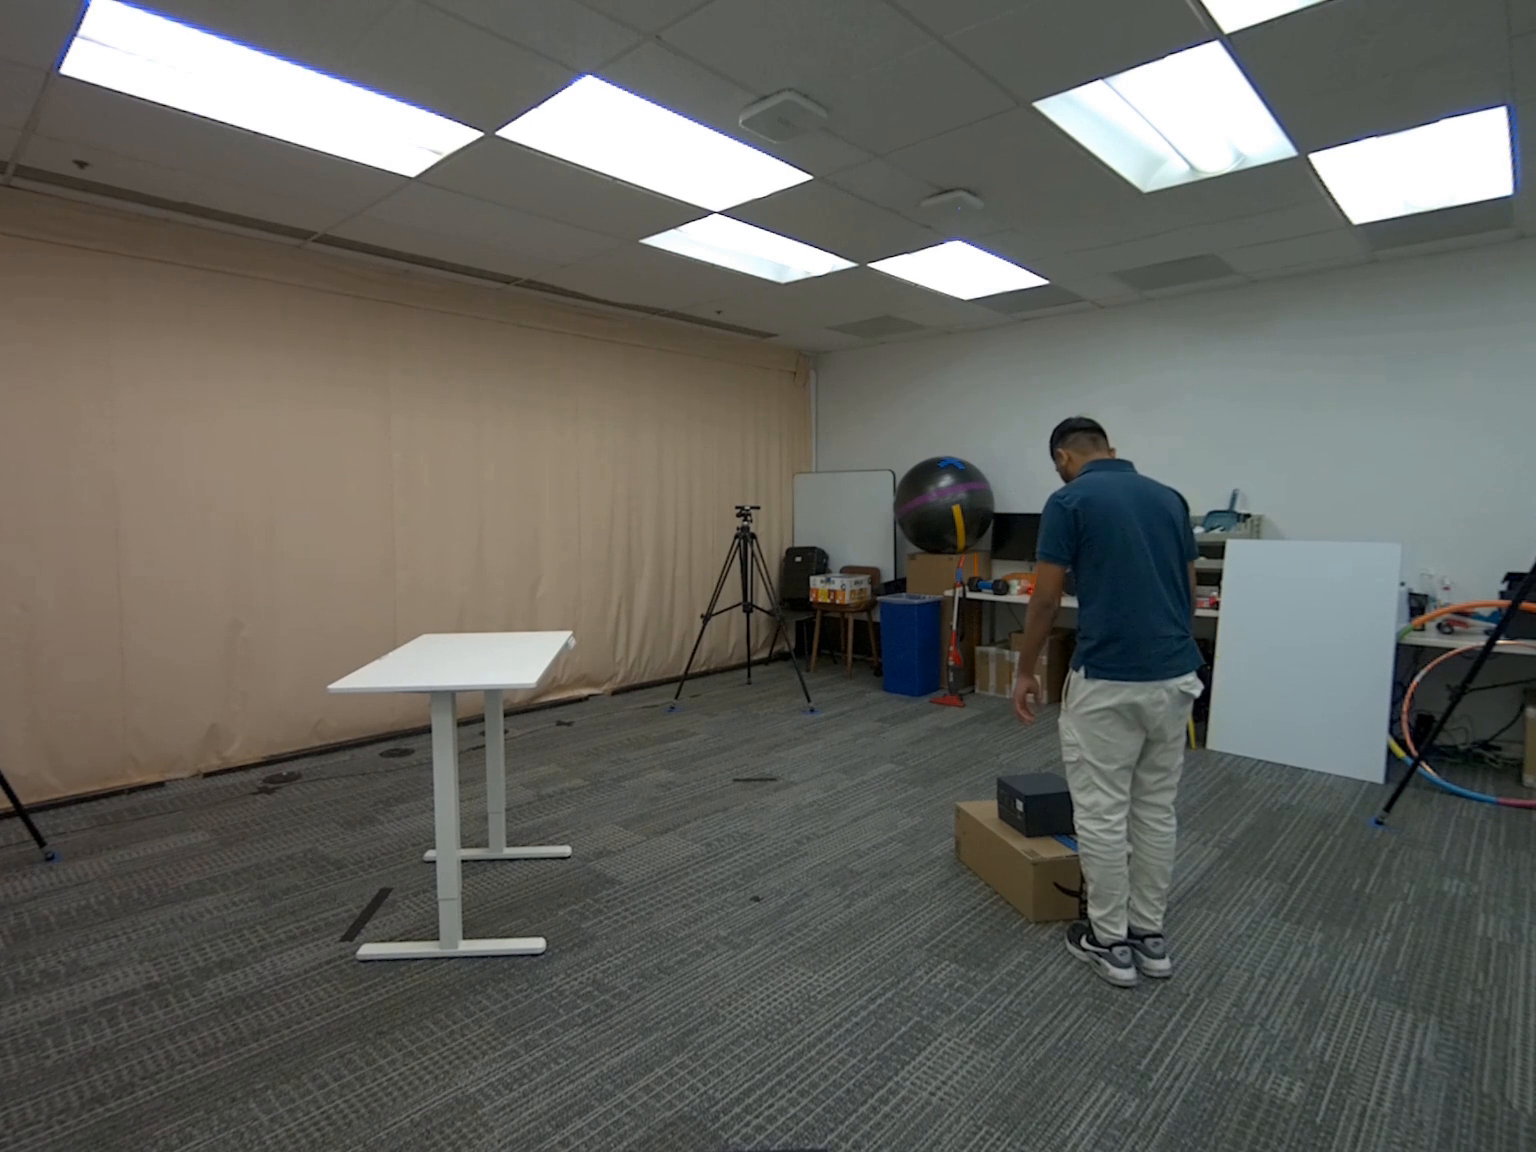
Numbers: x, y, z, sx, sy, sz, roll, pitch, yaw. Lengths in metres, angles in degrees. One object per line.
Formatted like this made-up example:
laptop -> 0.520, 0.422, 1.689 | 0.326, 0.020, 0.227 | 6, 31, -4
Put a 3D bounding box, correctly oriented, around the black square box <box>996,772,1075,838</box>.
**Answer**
black square box -> 1.003, 0.835, 3.089 | 0.225, 0.156, 0.220 | -2, 3, -11
